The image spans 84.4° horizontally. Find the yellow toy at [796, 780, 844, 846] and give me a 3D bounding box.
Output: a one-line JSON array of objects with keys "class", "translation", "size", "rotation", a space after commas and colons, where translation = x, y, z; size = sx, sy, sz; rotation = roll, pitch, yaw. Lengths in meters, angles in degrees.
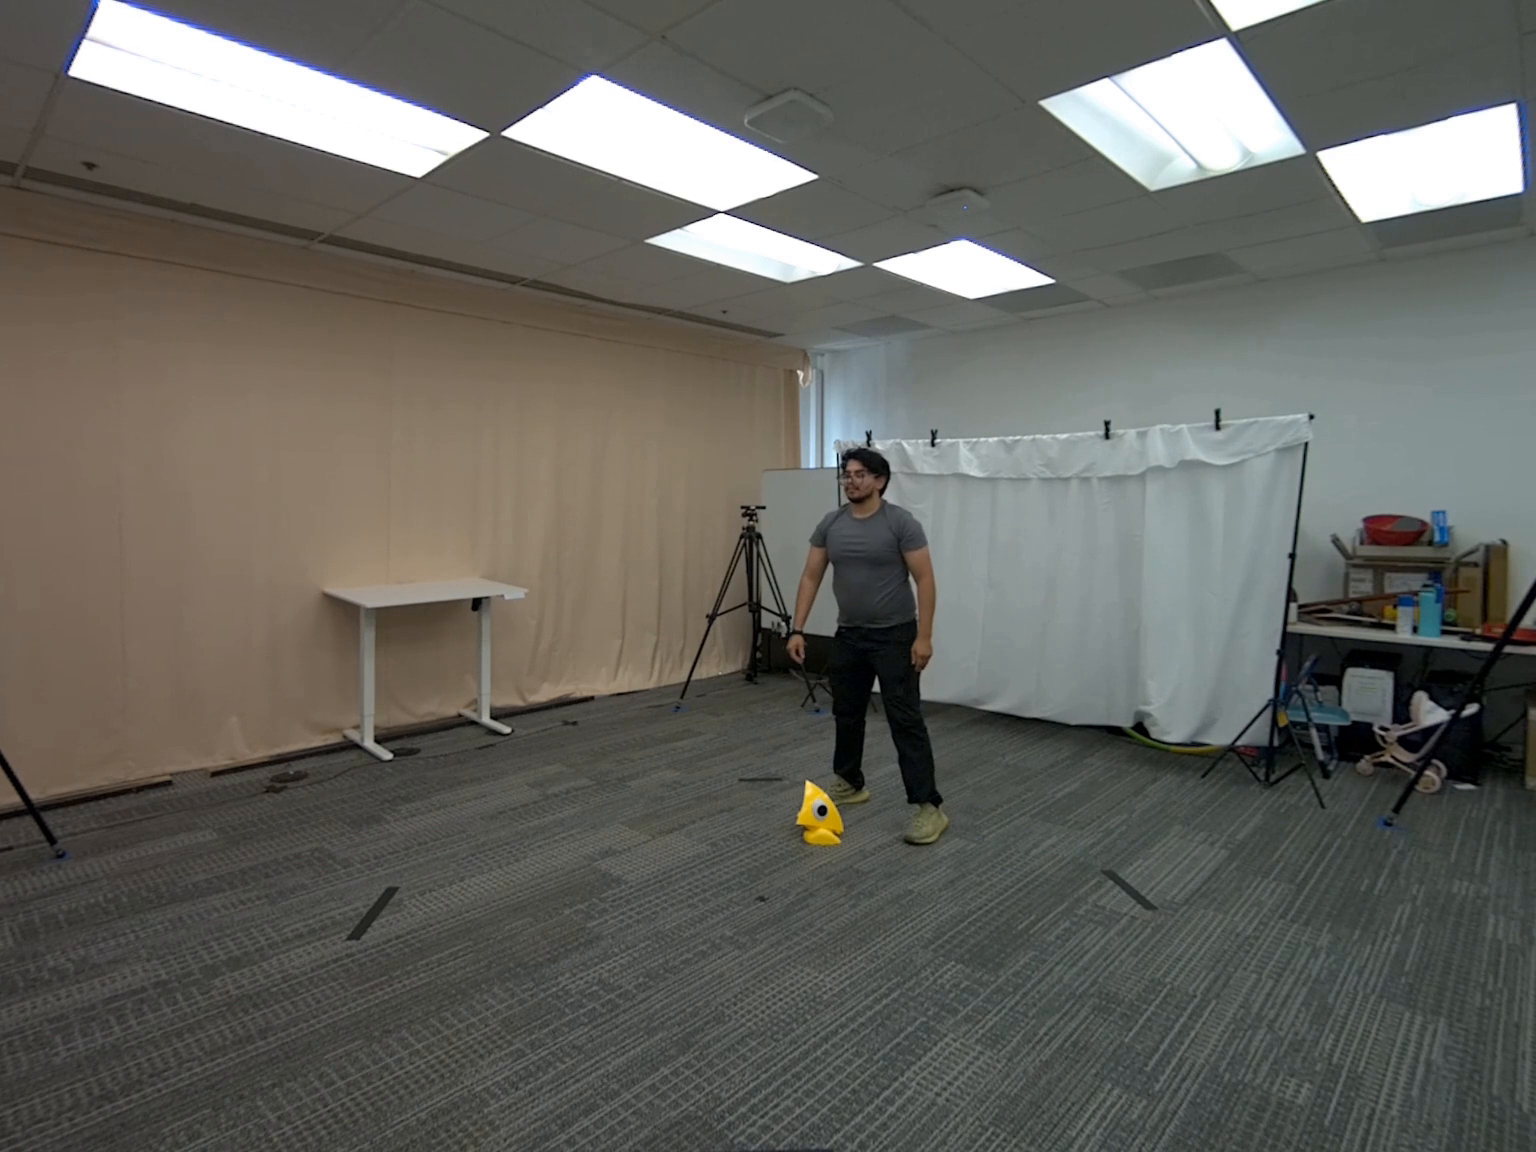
[{"class": "yellow toy", "translation": [0.226, 0.982, 3.551], "size": [0.195, 0.230, 0.203], "rotation": [1, 3, 10]}]
